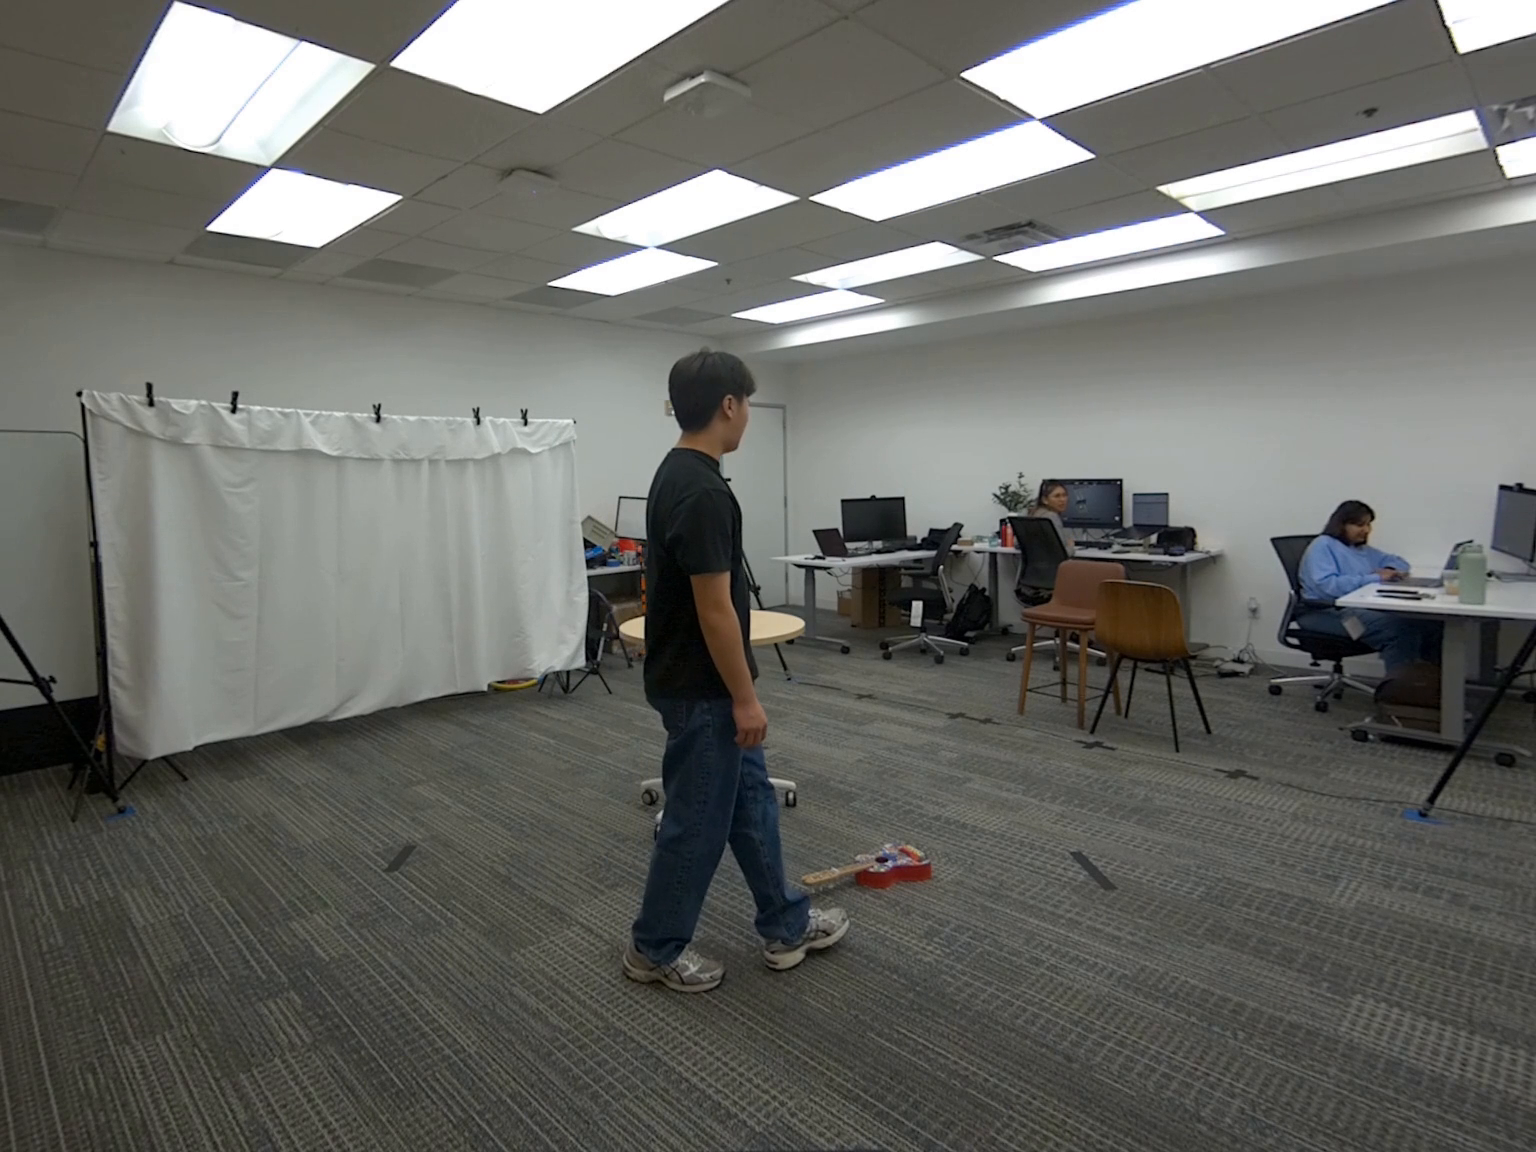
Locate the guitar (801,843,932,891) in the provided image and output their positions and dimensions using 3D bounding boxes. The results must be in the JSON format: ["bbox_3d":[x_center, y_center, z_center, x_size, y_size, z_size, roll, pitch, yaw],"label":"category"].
[{"bbox_3d":[0.326,1.017,2.971,0.489,0.070,0.197,-3,7,-19],"label":"guitar"}]
